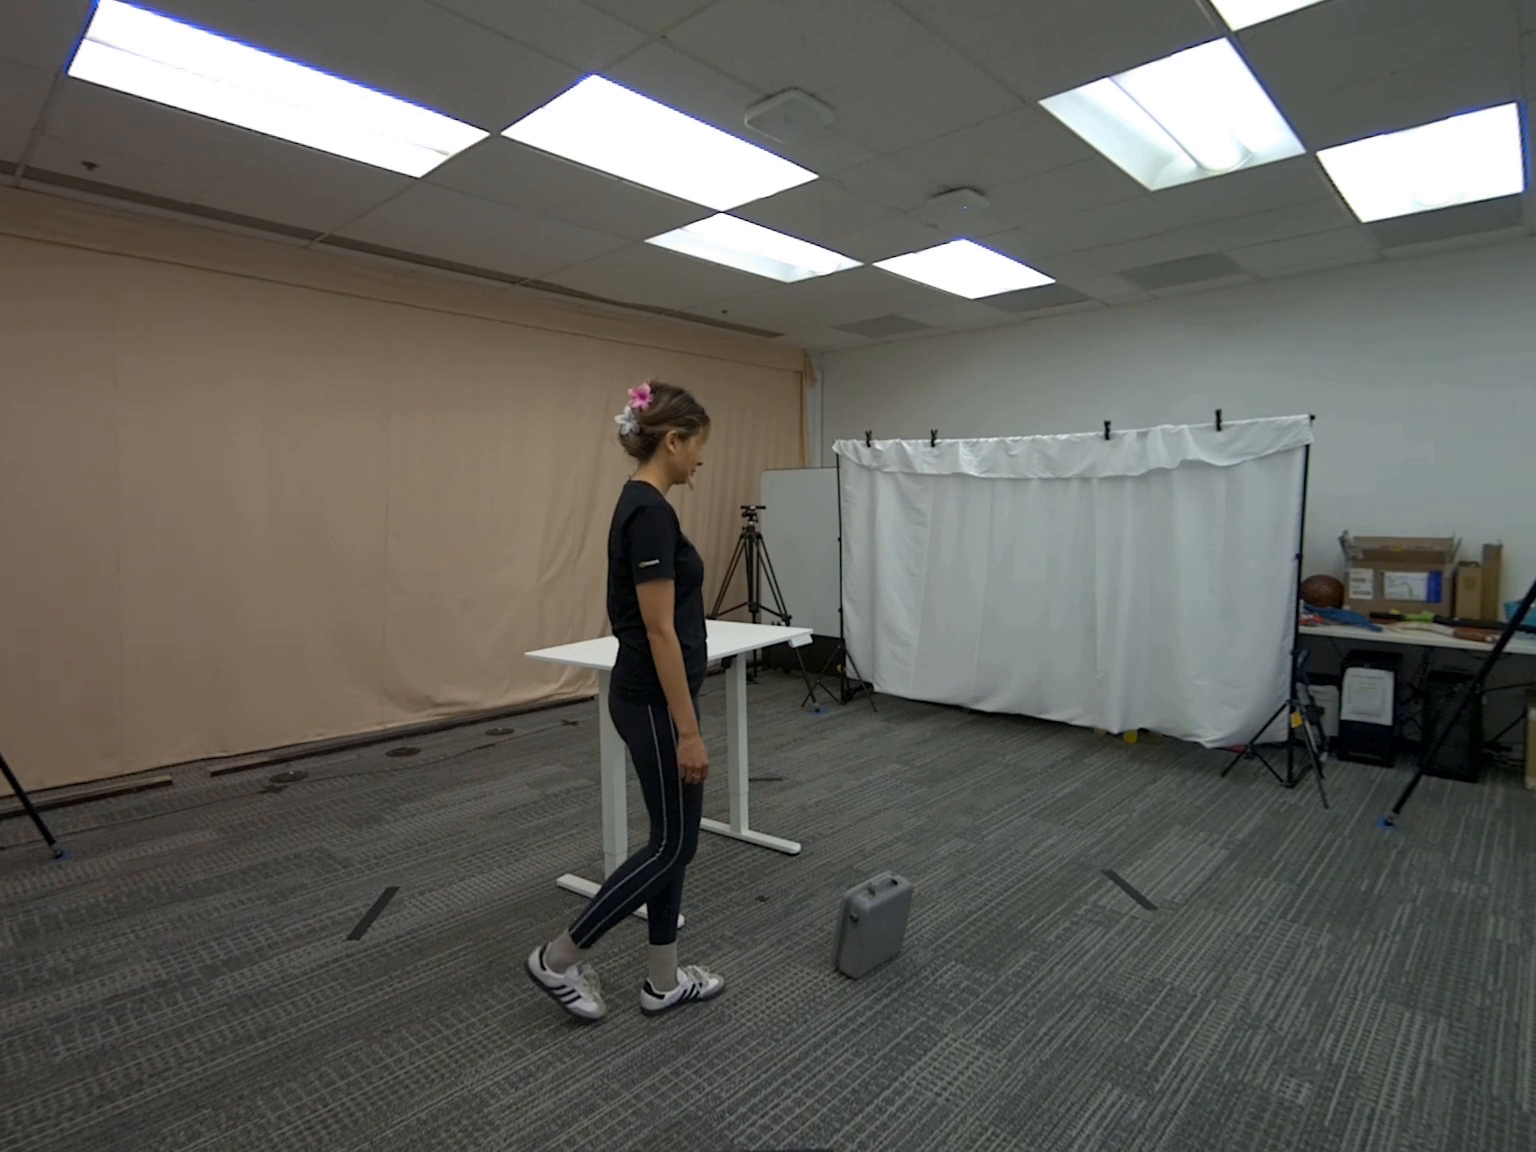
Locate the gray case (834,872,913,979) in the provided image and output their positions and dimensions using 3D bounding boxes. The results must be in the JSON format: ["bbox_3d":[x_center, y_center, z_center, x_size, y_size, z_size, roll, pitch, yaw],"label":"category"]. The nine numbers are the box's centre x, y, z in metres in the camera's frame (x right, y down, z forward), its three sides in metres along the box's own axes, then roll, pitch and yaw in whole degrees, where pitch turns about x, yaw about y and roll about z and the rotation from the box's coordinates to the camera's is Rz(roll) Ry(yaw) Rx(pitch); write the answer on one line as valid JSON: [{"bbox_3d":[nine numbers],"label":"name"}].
[{"bbox_3d":[0.323,1.049,2.548,0.249,0.259,0.108,-4,15,-43],"label":"gray case"}]
